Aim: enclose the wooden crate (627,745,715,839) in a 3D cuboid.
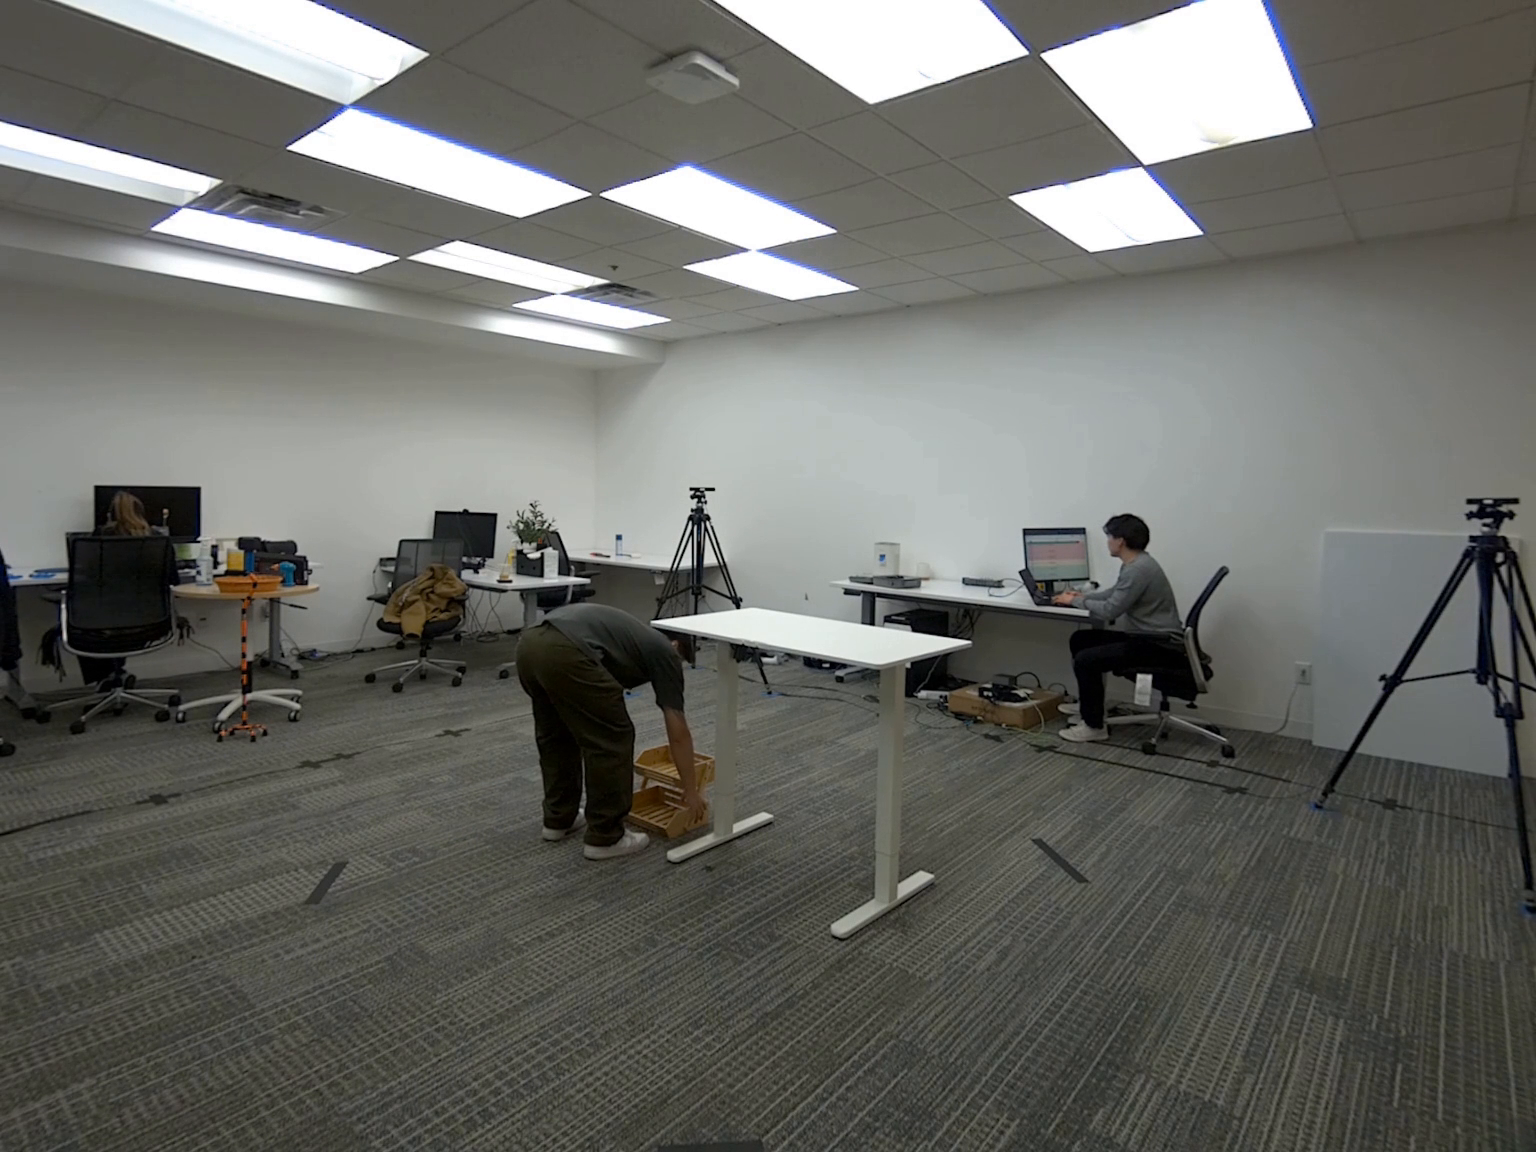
[{"bbox_3d":[-0.438,0.888,3.554,0.335,0.272,0.293,5,5,39],"label":"wooden crate"}]
